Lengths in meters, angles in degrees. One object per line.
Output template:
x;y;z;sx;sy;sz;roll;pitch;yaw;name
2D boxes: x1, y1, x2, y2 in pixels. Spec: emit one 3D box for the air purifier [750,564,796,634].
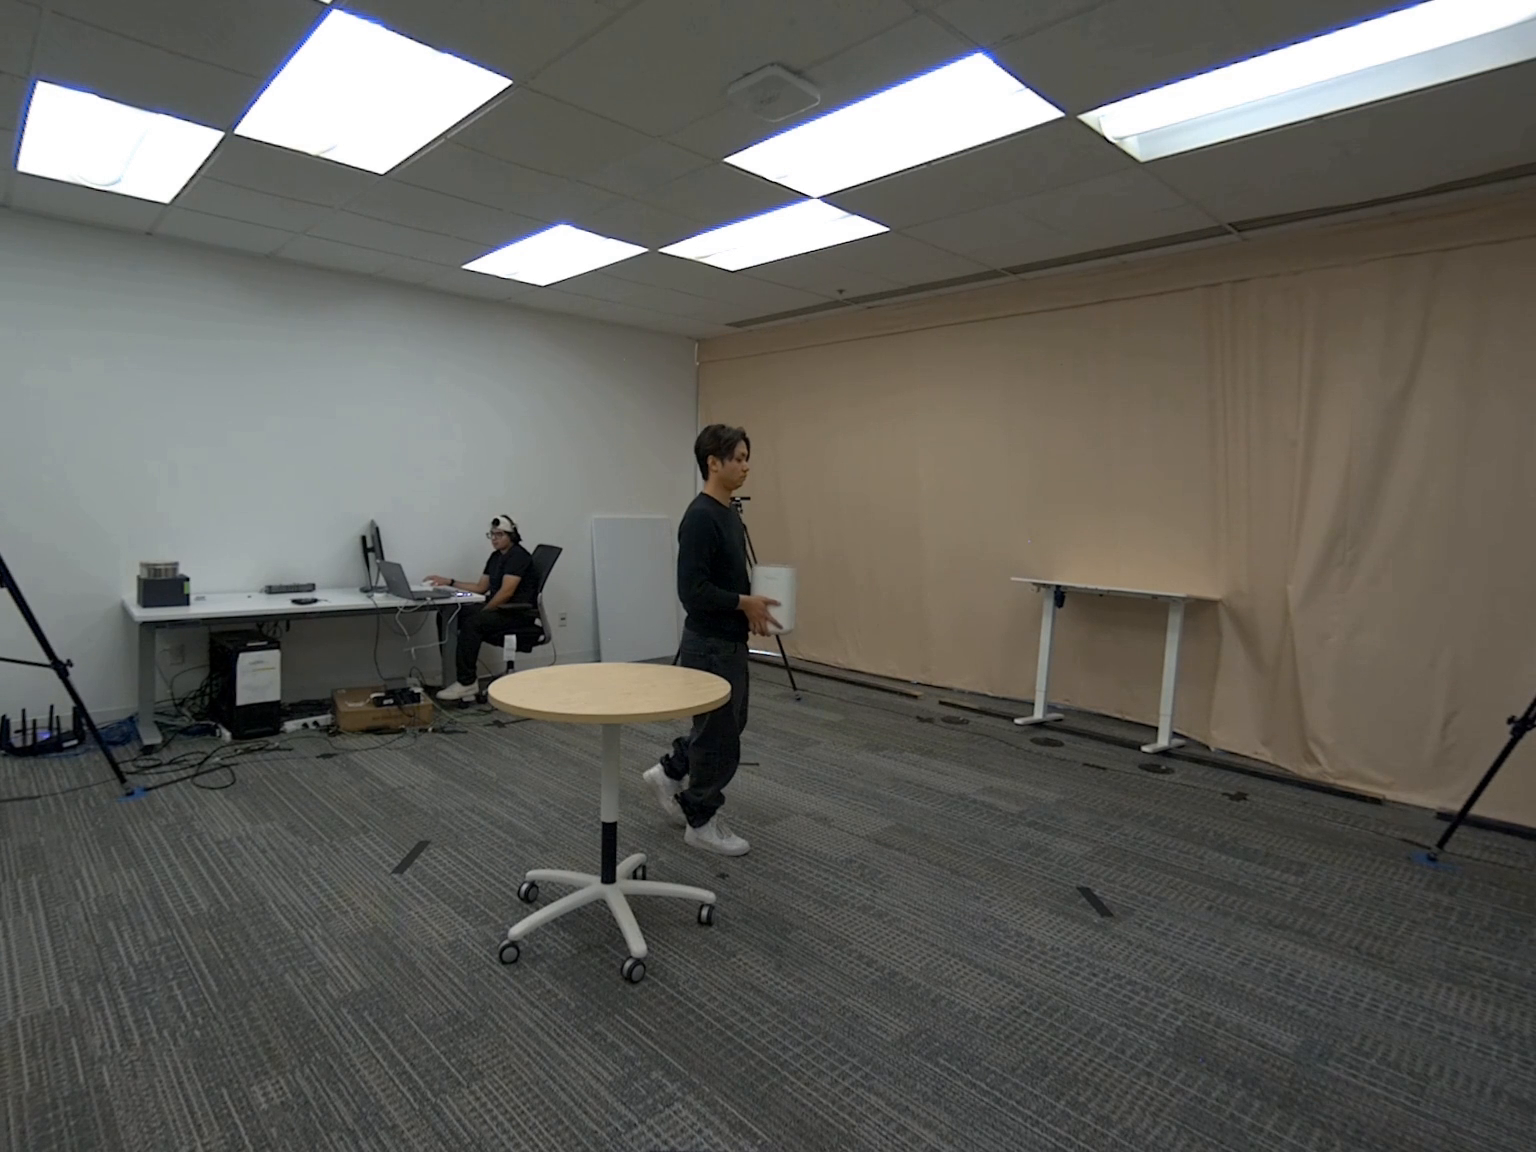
0.005;0.088;3.285;0.173;0.265;0.170;2;1;11;air purifier
